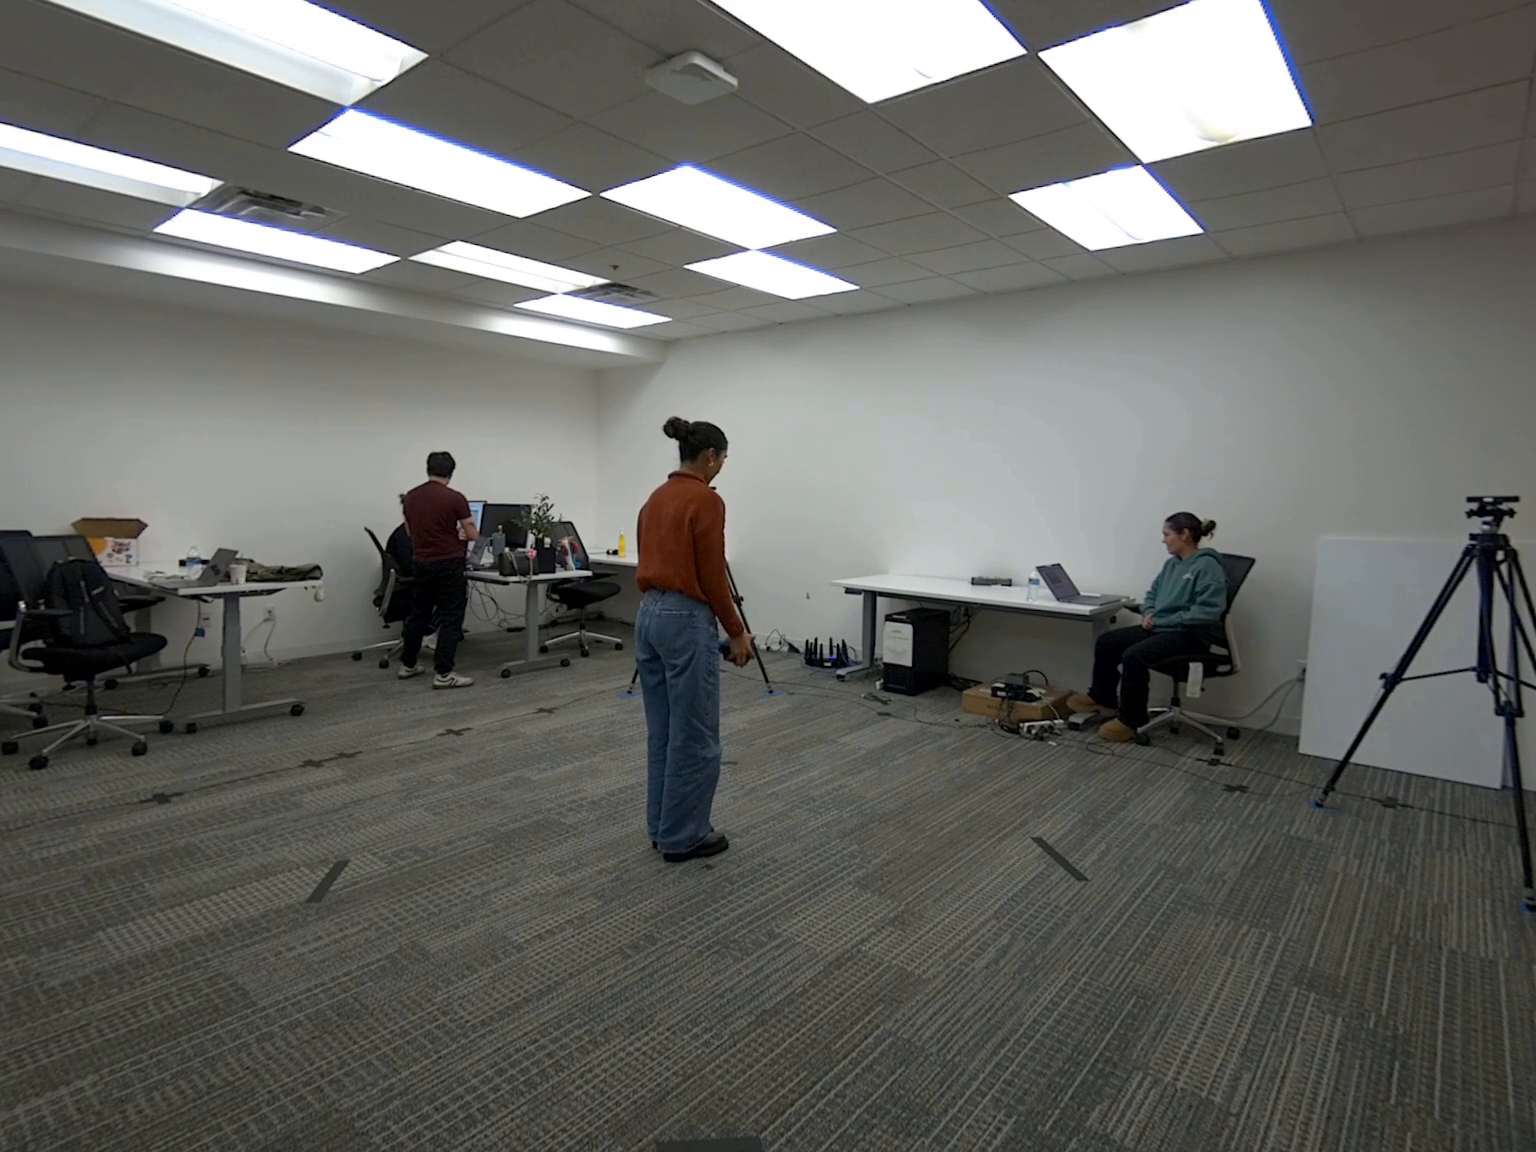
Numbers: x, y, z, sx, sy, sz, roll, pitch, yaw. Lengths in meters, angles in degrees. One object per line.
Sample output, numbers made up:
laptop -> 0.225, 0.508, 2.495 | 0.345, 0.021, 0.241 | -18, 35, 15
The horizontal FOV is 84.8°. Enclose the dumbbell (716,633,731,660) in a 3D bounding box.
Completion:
dumbbell -> -0.197, 0.274, 3.327 | 0.106, 0.122, 0.303 | -14, 11, -37
